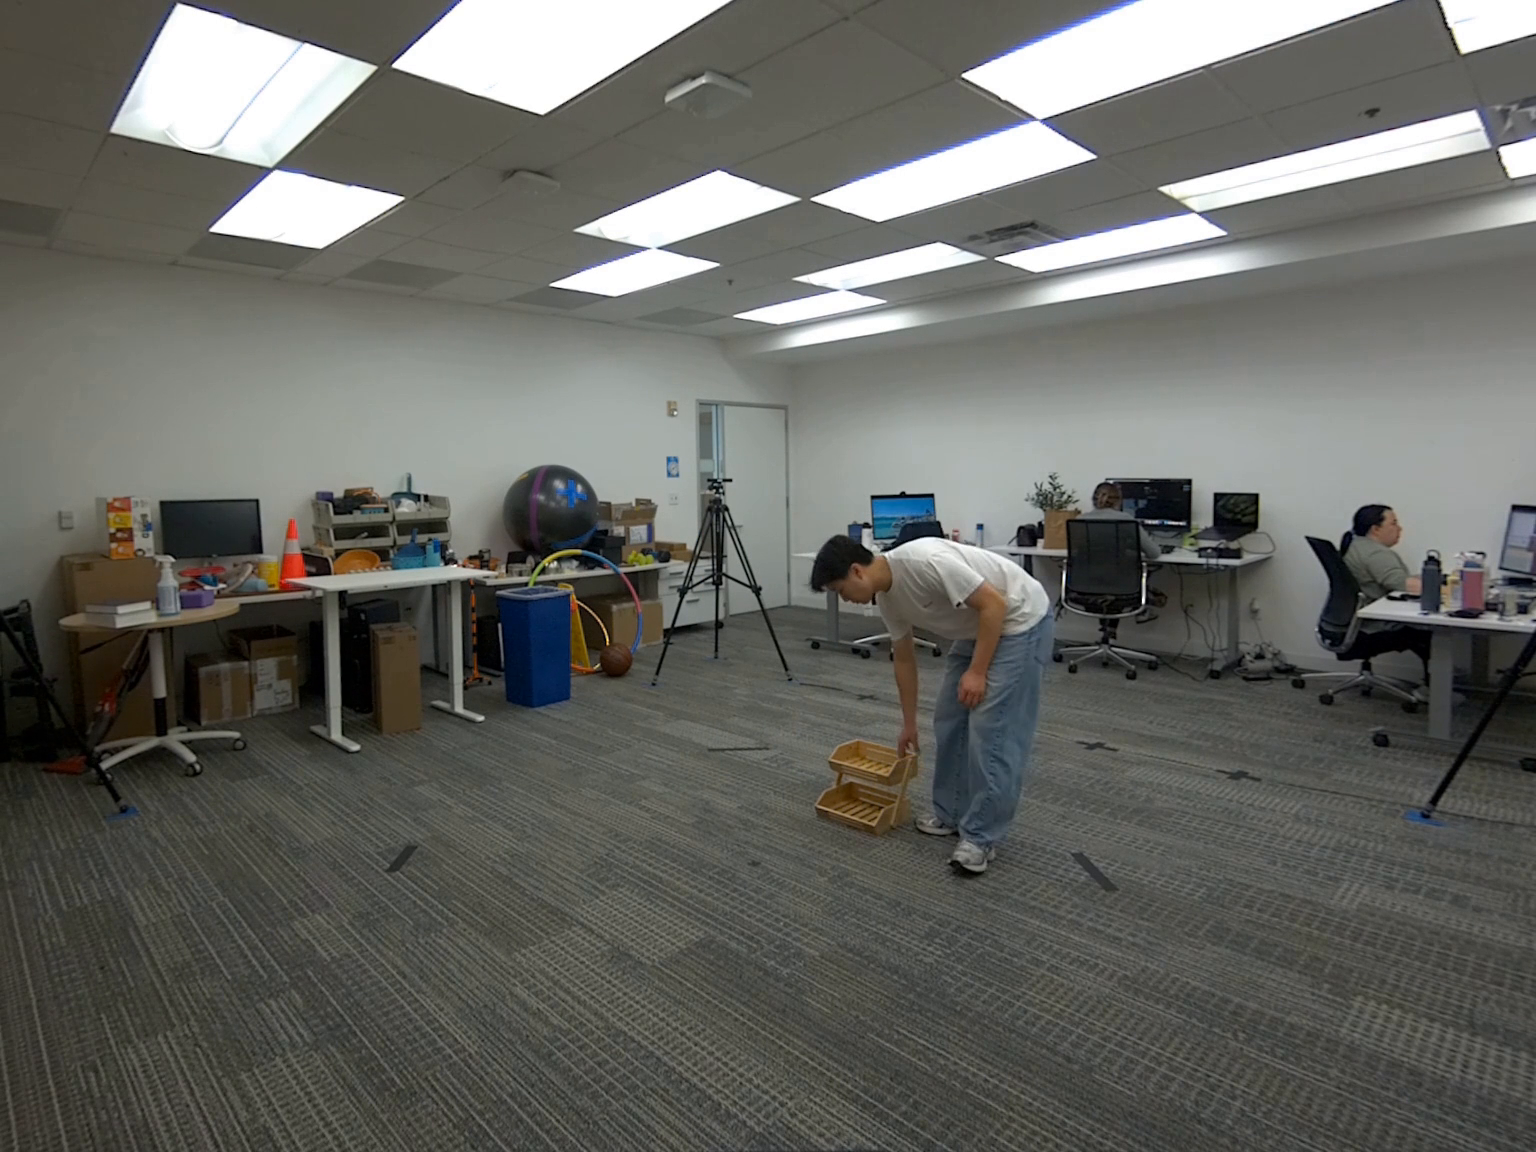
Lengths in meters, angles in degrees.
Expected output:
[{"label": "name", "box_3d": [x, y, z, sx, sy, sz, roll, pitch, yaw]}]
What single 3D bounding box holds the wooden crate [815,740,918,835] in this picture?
[{"label": "wooden crate", "box_3d": [0.405, 0.858, 3.516, 0.334, 0.272, 0.294, 4, 6, 44]}]
